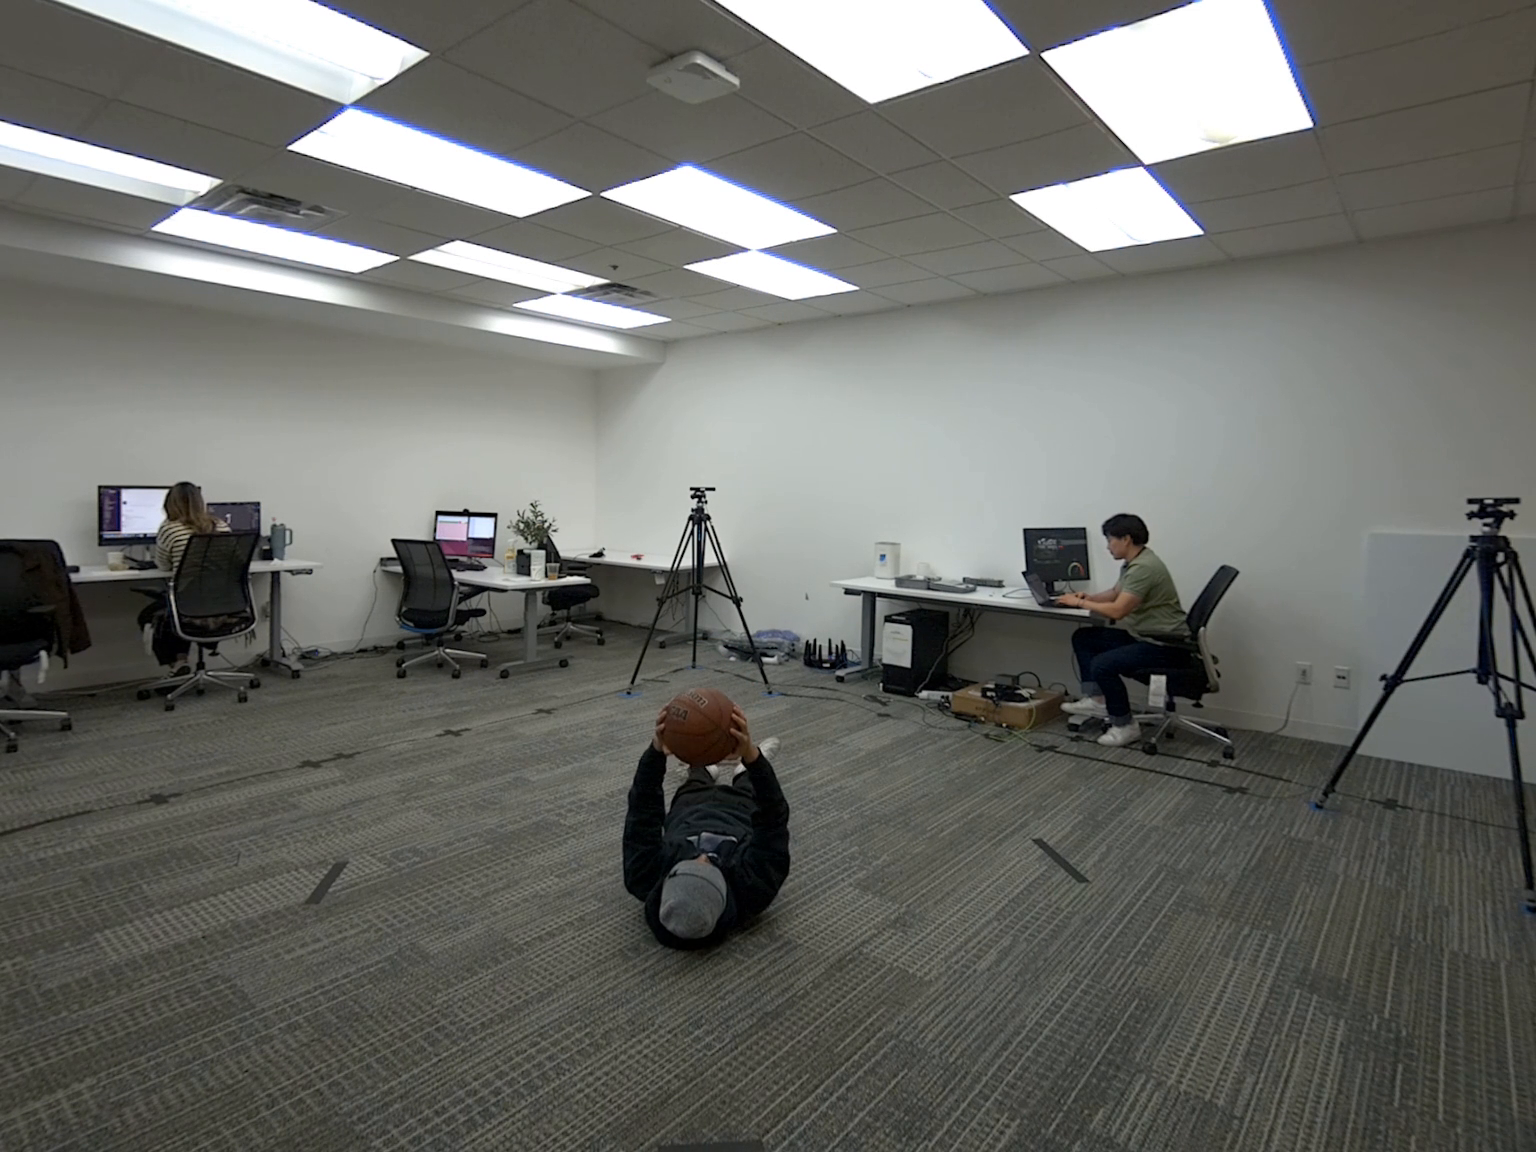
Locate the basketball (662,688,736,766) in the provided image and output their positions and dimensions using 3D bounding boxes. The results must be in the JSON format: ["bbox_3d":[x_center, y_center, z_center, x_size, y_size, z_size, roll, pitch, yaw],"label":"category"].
[{"bbox_3d":[-0.221,0.458,2.593,0.235,0.235,0.237,1,4,-2],"label":"basketball"}]
